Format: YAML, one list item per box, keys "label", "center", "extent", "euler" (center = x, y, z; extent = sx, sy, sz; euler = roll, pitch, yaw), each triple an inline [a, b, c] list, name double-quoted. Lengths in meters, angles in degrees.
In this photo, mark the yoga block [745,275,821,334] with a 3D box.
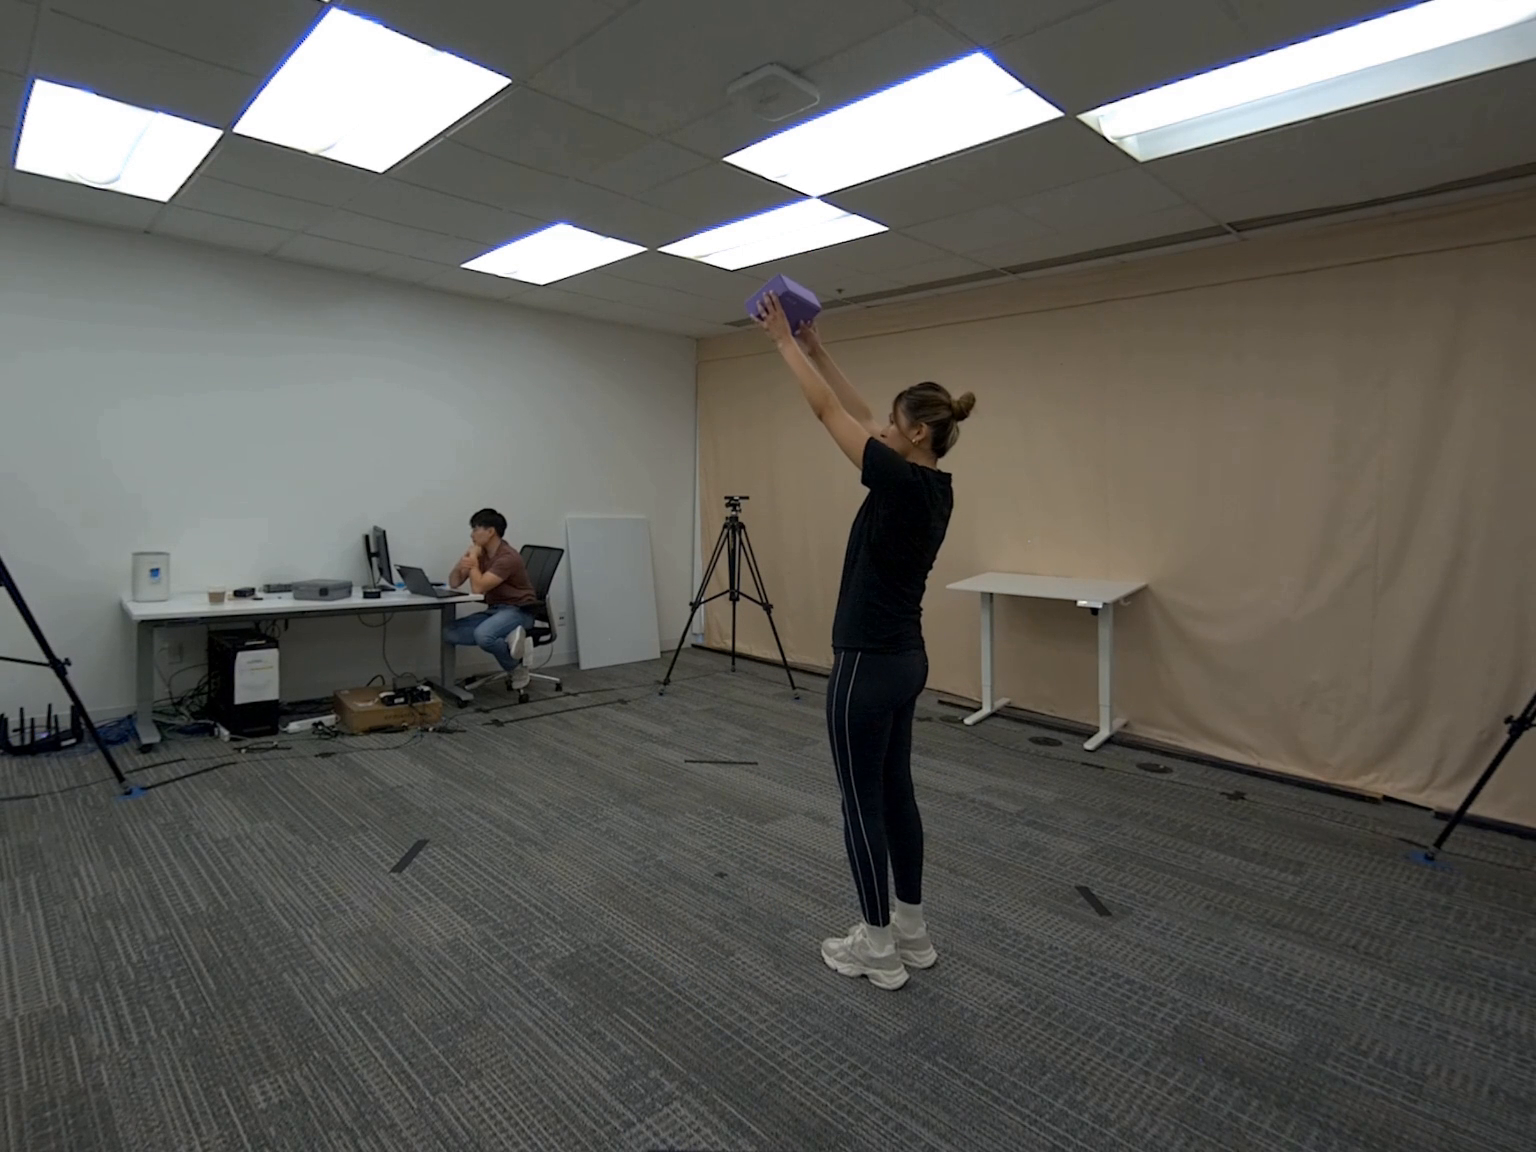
- label: "yoga block"
  center: [0.043, -0.833, 2.607]
  extent: [0.150, 0.078, 0.224]
  euler: [-35, -17, 27]
